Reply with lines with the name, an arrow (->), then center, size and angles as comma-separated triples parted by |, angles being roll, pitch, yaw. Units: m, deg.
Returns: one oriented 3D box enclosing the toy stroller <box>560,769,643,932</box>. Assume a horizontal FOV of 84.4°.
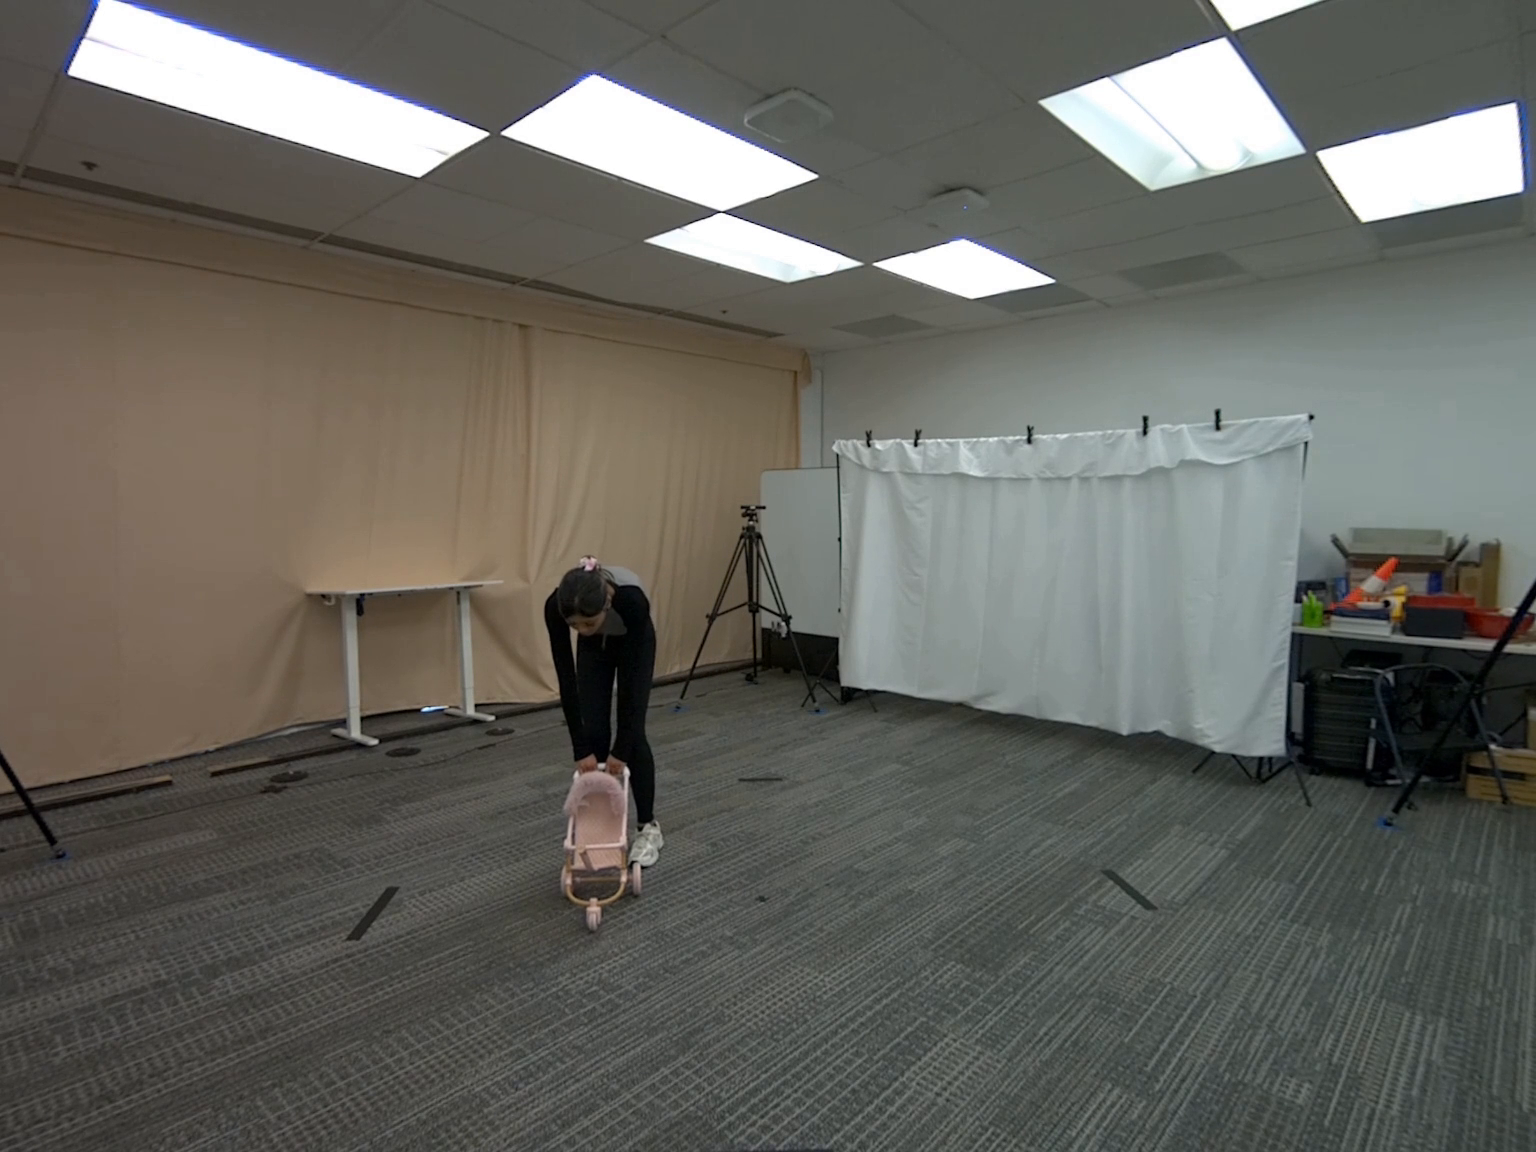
toy stroller -> -0.596, 0.928, 2.945 | 0.282, 0.539, 0.338 | -2, -13, 0
